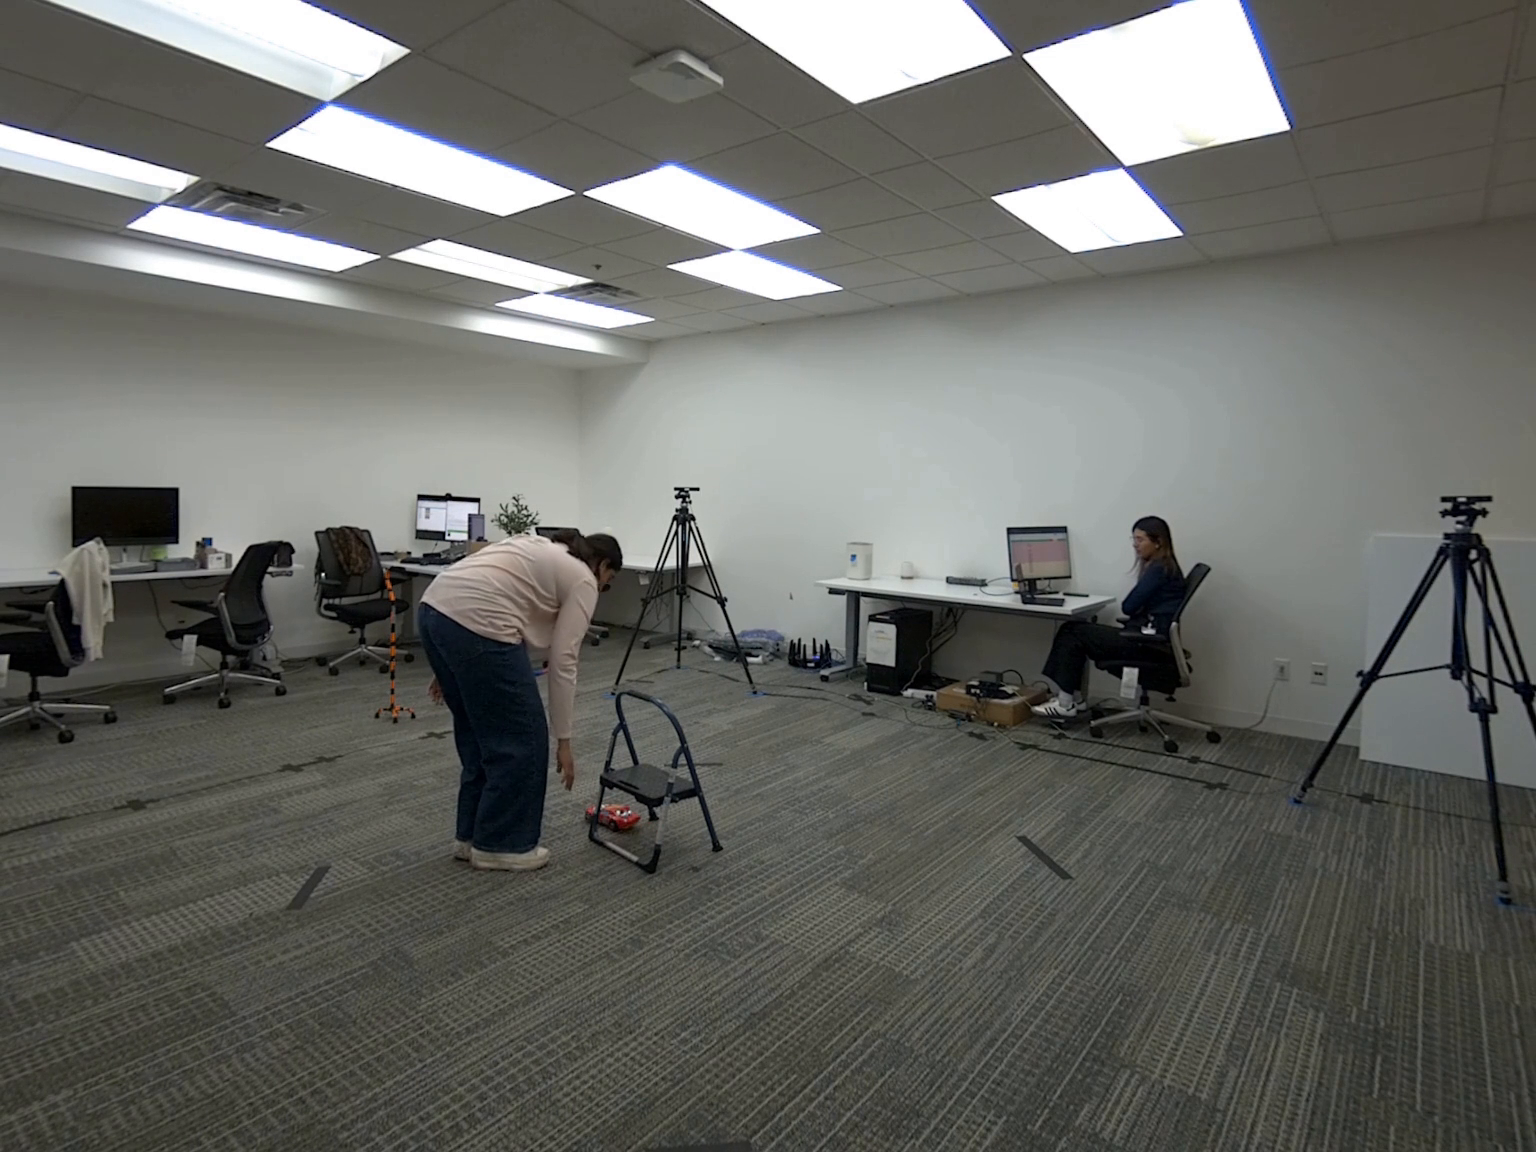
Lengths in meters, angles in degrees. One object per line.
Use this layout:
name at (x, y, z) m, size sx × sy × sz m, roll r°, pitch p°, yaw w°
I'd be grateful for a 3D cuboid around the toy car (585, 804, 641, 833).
toy car at (-0.651, 0.990, 3.502) m, size 0.261 × 0.083 × 0.126 m, roll -8°, pitch -2°, yaw 37°
